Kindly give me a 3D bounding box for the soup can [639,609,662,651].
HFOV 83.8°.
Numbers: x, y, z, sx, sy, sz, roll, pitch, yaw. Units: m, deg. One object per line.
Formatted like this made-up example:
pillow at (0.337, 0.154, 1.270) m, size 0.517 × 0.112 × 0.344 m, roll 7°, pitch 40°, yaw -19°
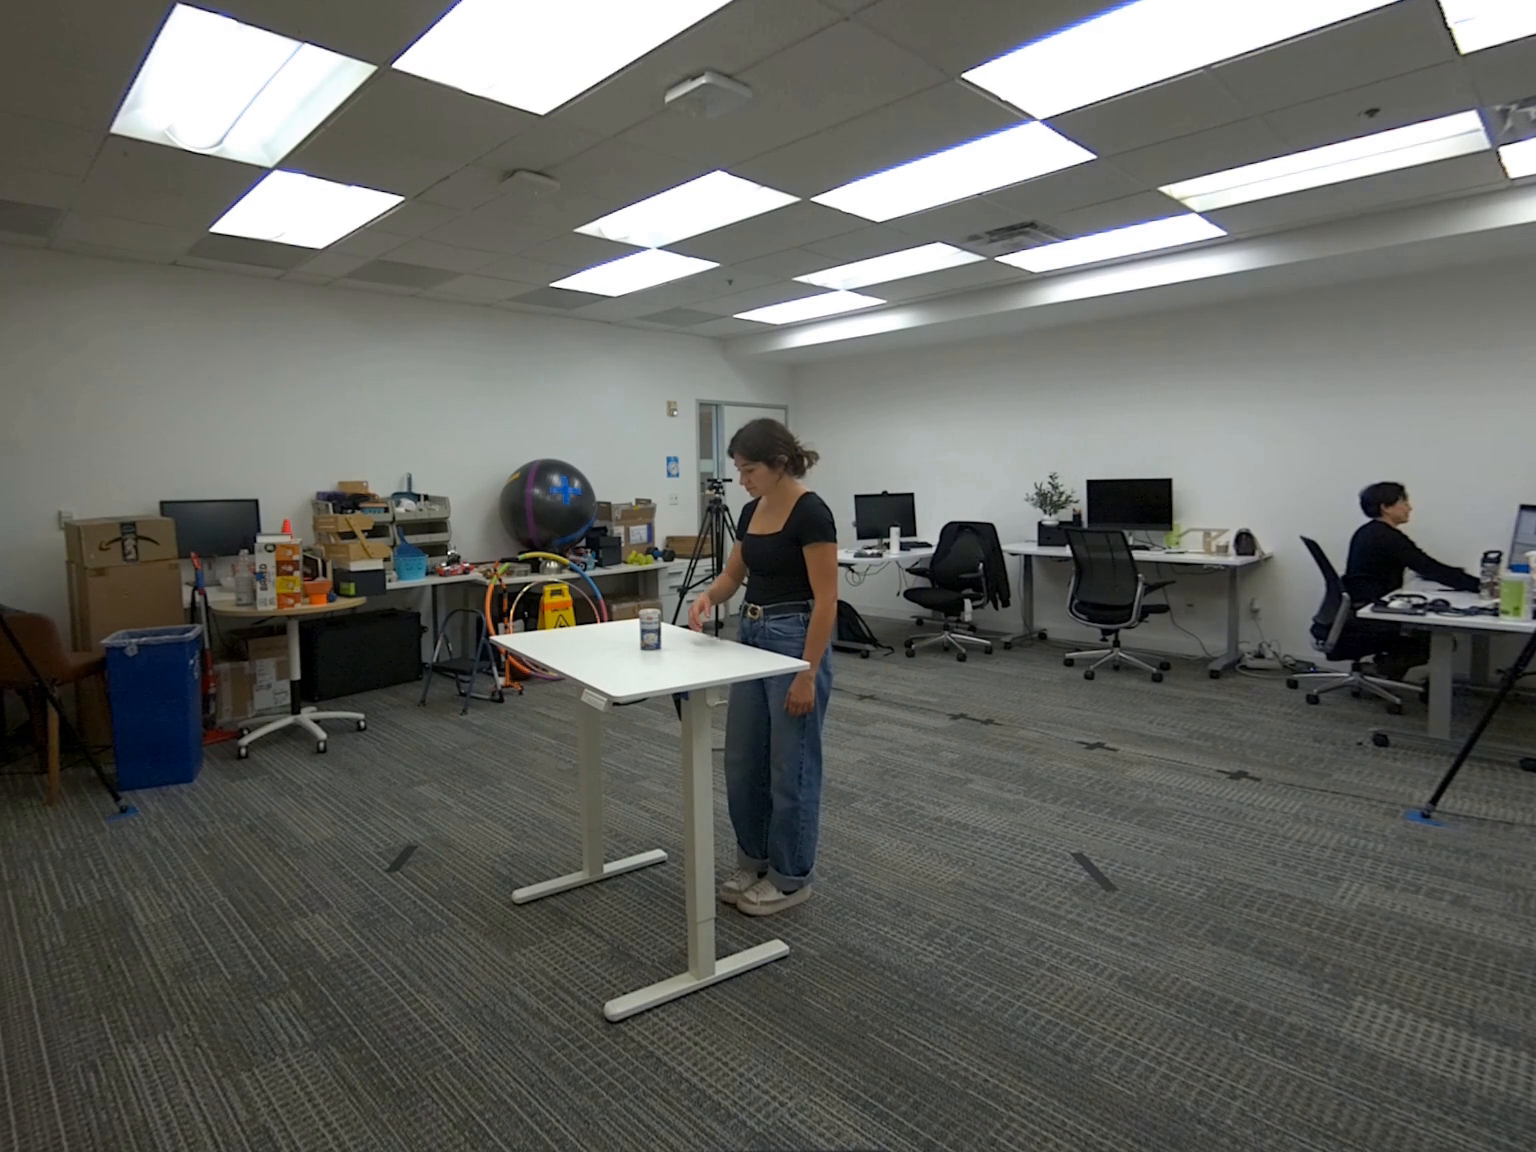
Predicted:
soup can at (-0.355, 0.165, 2.629) m, size 0.067 × 0.121 × 0.067 m, roll 0°, pitch 1°, yaw -2°
